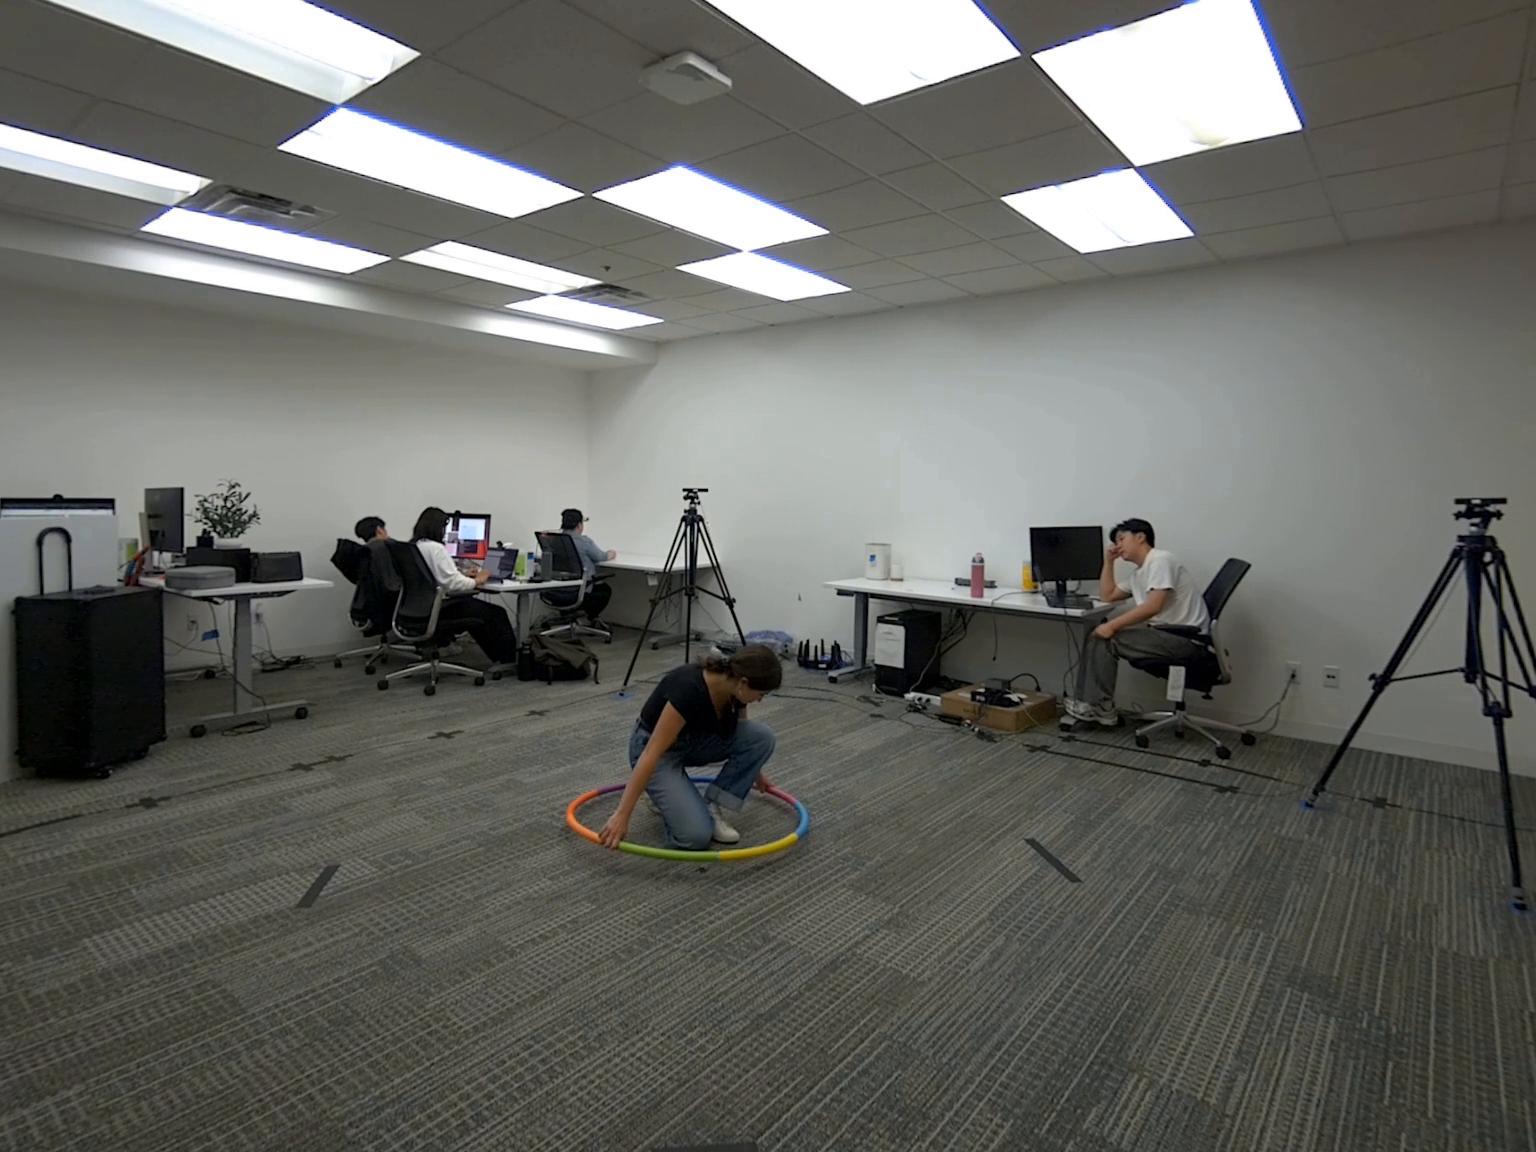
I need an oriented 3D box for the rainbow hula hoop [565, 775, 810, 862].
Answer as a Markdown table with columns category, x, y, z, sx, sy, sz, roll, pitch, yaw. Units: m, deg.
| category | x | y | z | sx | sy | sz | roll | pitch | yaw |
| --- | --- | --- | --- | --- | --- | --- | --- | --- | --- |
| rainbow hula hoop | -0.326 | 0.953 | 3.499 | 0.978 | 0.035 | 0.981 | 1 | 3 | -2 |
